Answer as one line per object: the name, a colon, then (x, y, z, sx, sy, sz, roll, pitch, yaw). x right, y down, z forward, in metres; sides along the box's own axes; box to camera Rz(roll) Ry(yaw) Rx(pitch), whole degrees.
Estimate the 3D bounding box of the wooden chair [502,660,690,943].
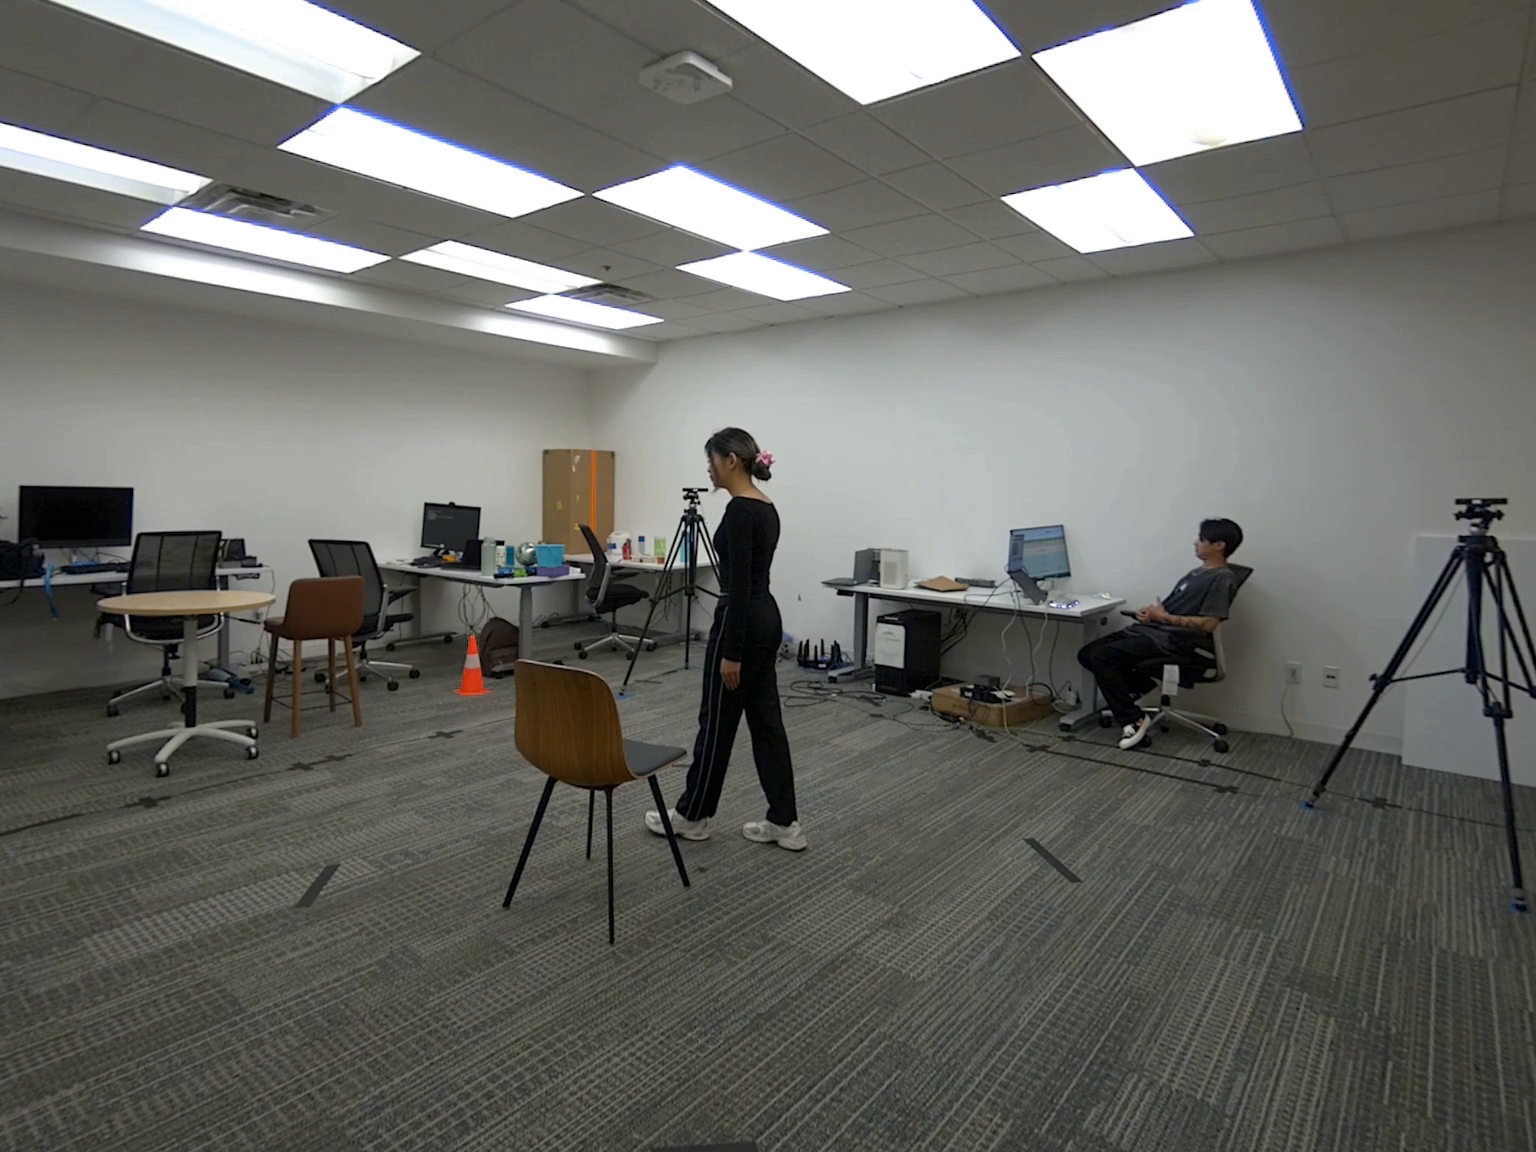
wooden chair: (-0.571, 0.660, 2.866, 0.492, 0.872, 0.512, 2, 8, 28)
